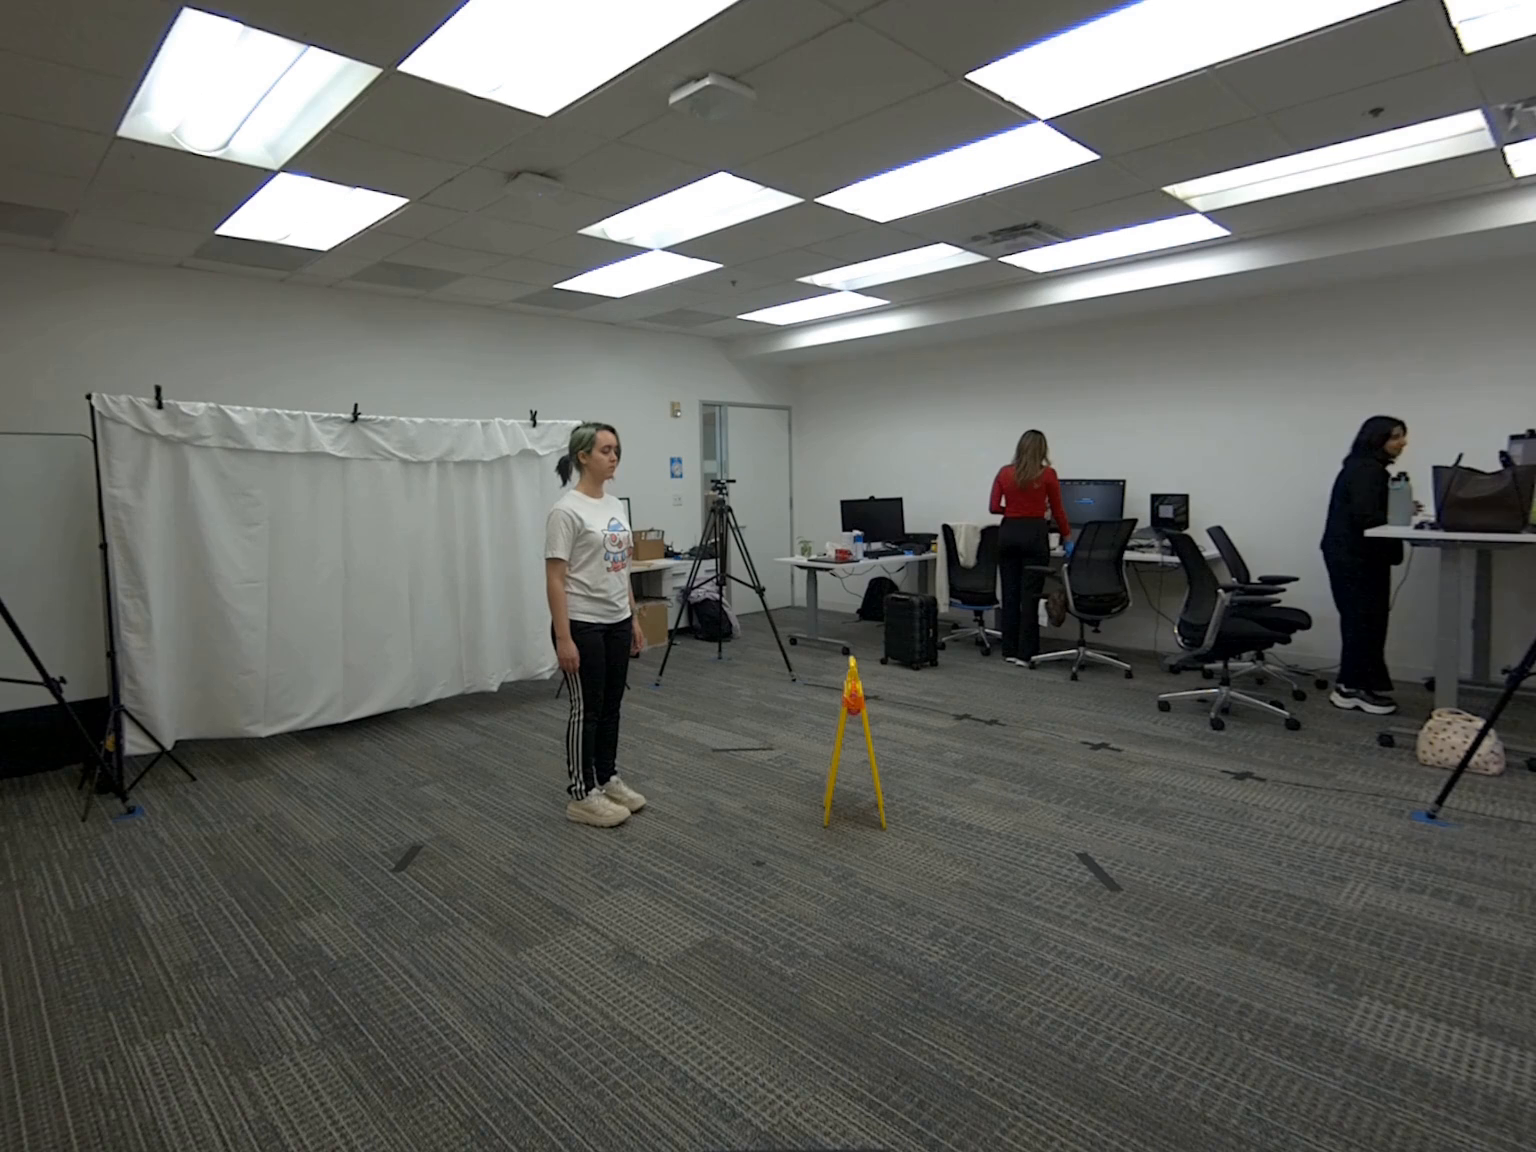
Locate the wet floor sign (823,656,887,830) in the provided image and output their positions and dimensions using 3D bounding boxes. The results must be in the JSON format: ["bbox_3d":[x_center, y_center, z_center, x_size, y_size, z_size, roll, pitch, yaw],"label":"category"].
[{"bbox_3d":[0.349,0.666,3.536,0.291,0.645,0.281,0,2,5],"label":"wet floor sign"}]
